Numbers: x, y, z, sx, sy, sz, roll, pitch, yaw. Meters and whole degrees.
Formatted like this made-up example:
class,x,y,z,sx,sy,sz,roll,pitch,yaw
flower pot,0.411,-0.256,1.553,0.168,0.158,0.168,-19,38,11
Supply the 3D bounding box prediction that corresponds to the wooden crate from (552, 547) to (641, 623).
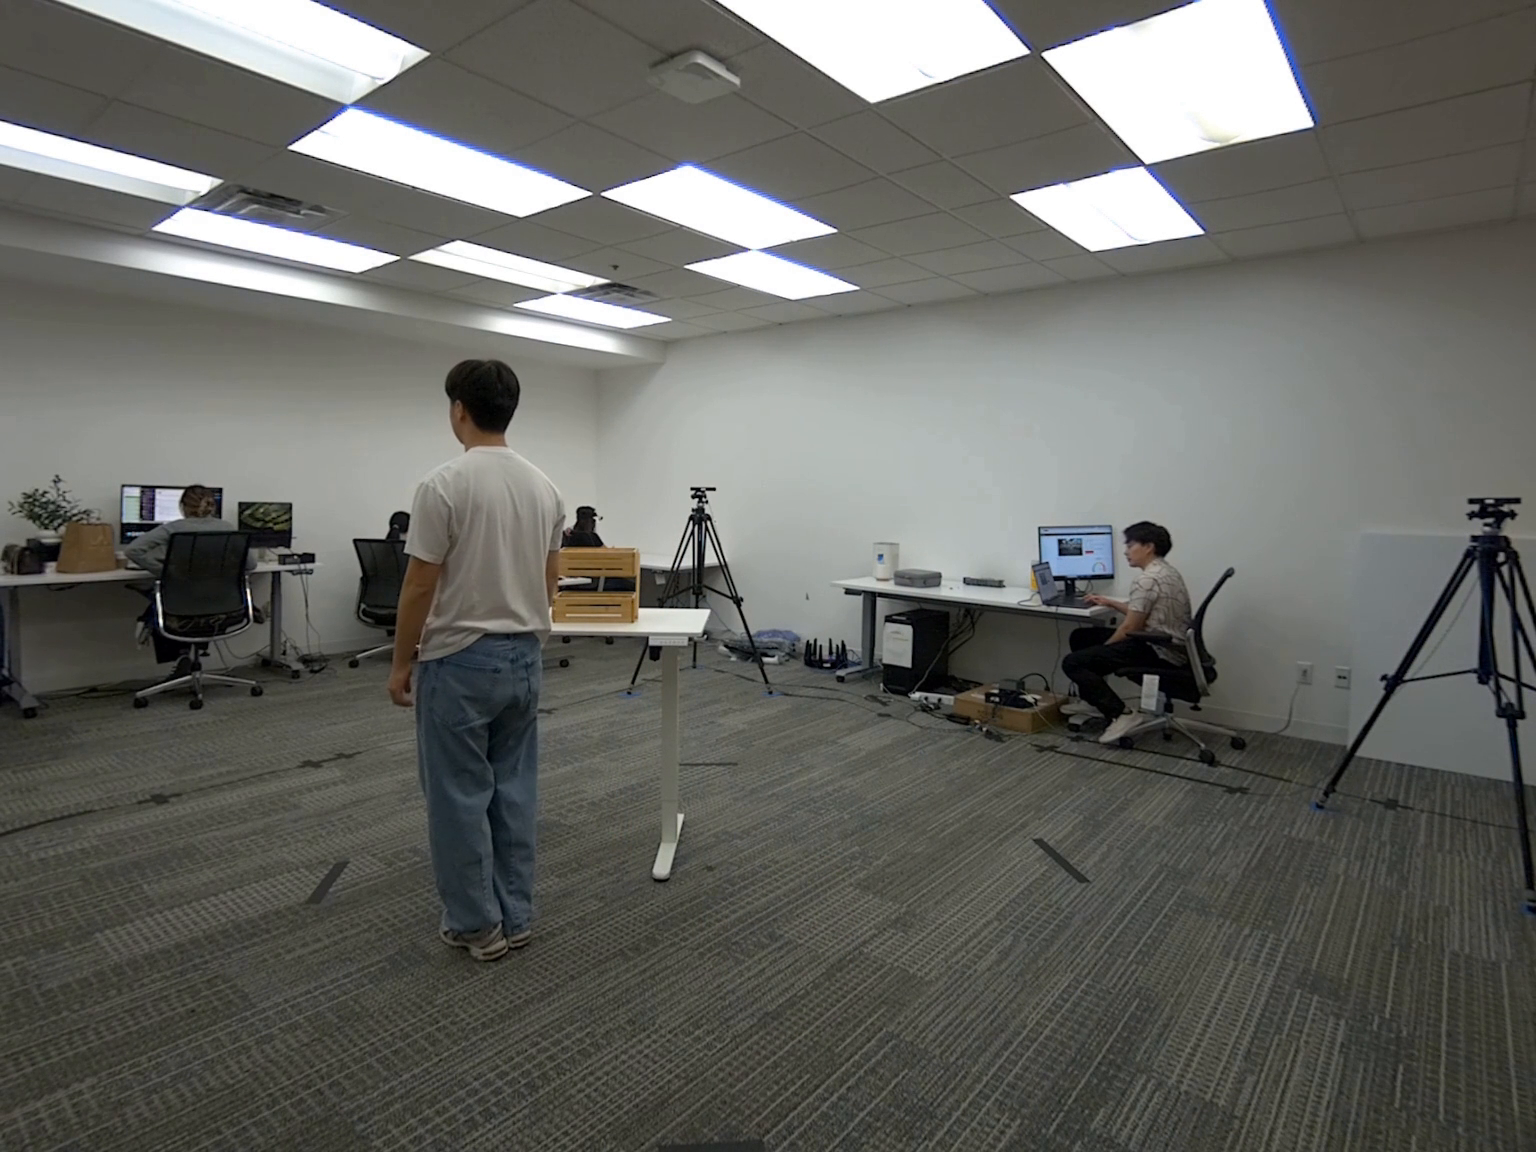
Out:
class,x,y,z,sx,sy,sz,roll,pitch,yaw
wooden crate,-0.671,0.036,3.288,0.324,0.272,0.304,-2,4,-2
